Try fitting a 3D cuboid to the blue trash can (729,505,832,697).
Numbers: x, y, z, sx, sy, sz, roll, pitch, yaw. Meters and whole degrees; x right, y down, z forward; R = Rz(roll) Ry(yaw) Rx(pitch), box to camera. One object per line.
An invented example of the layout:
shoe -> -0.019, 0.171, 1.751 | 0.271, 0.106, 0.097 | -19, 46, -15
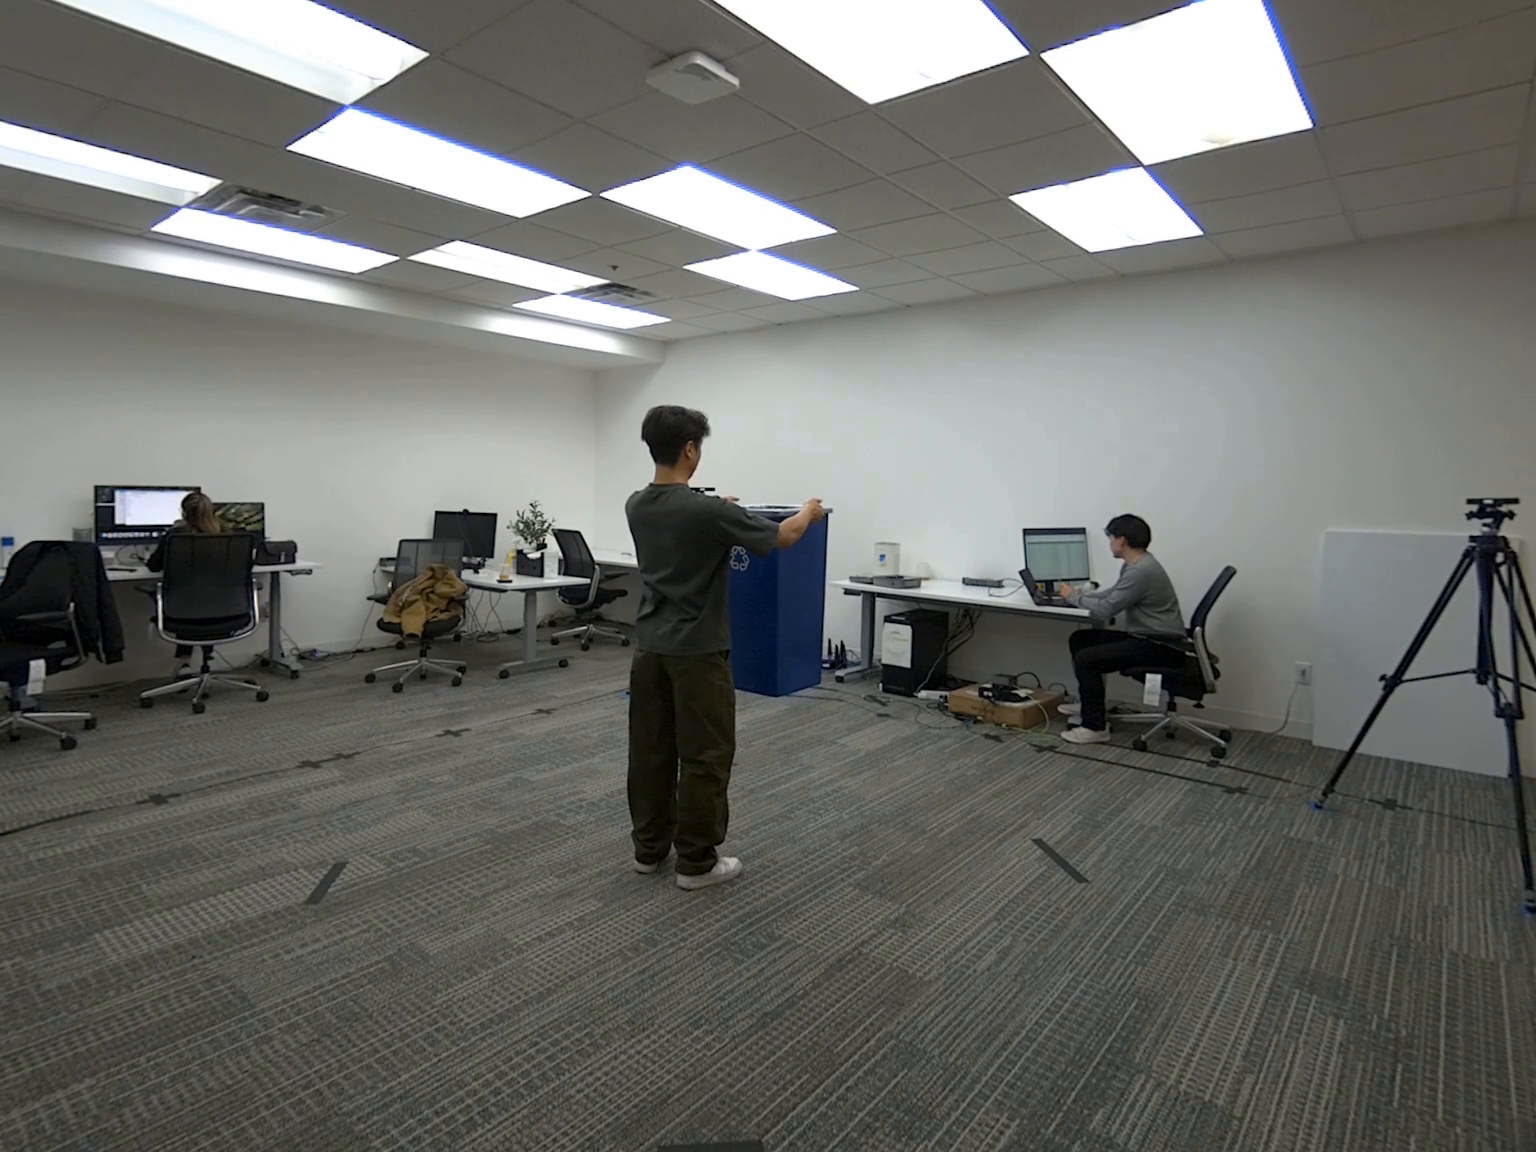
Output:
blue trash can -> 0.002, 0.080, 3.396 | 0.391, 0.710, 0.363 | 4, 6, 39
